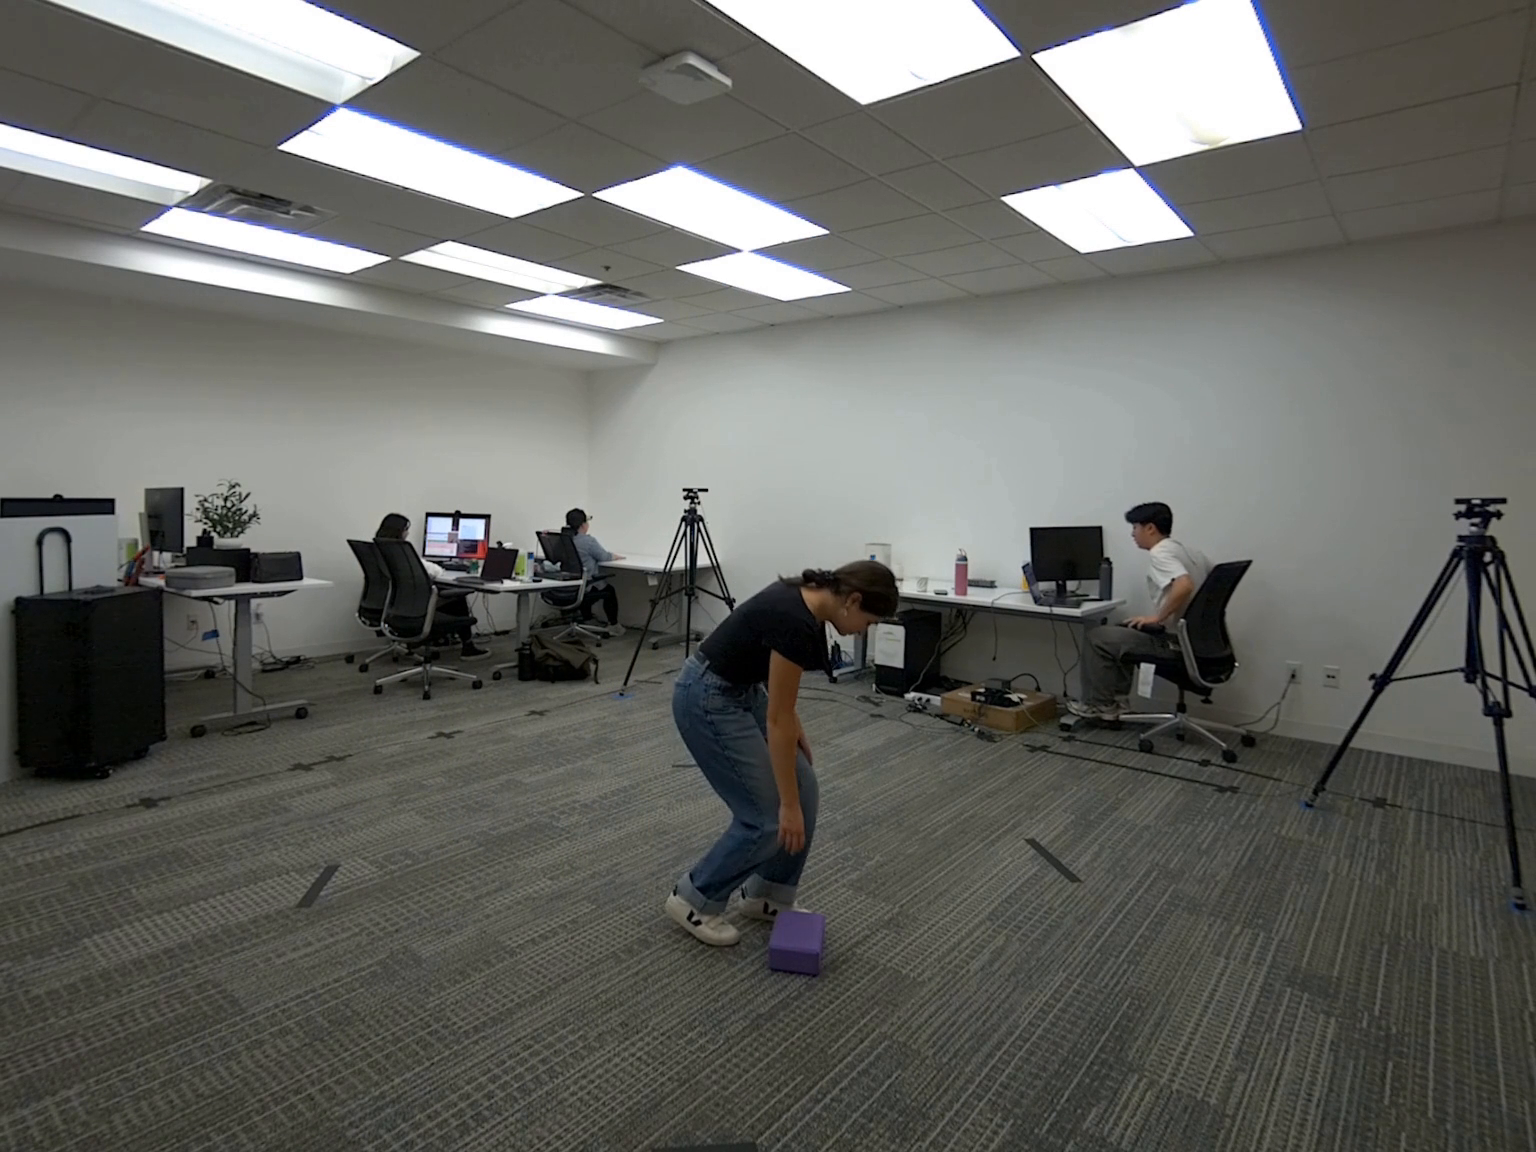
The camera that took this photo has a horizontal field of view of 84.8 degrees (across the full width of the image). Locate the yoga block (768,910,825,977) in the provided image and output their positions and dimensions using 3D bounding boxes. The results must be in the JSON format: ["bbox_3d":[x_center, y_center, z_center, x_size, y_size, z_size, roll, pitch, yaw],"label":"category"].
[{"bbox_3d":[0.087,1.084,2.557,0.150,0.076,0.228,1,5,9],"label":"yoga block"}]
